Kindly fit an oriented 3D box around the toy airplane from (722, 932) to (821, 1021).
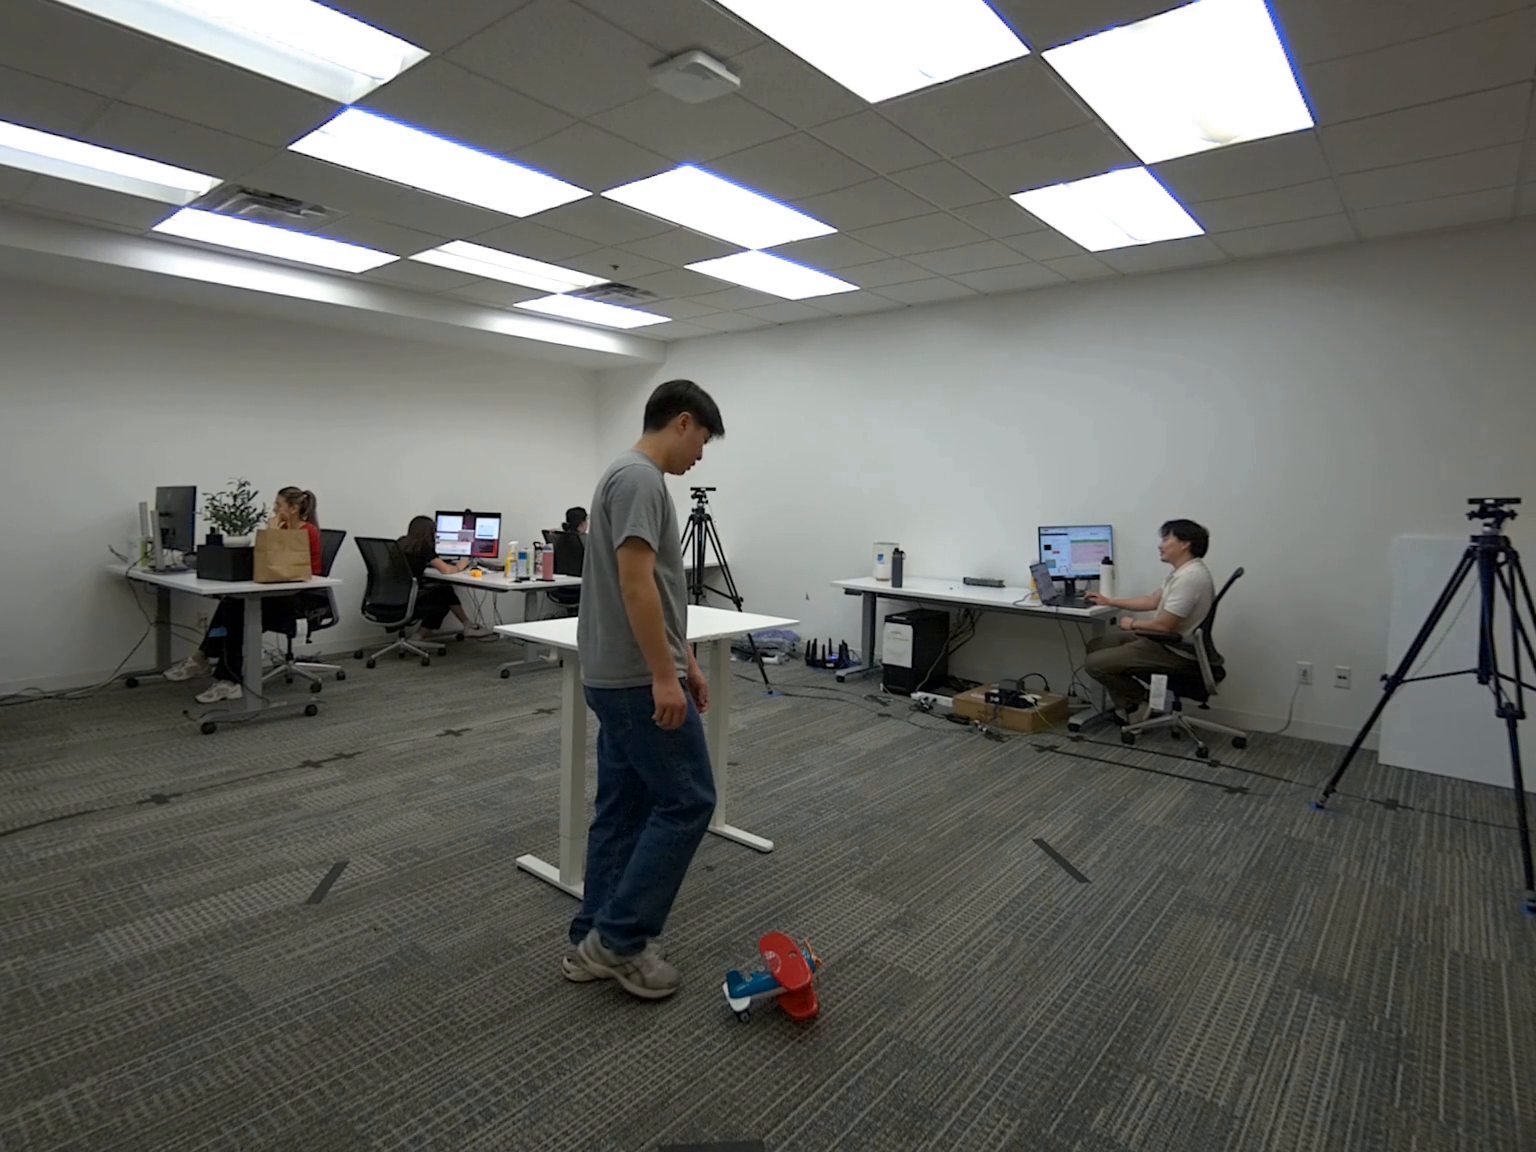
[{"bbox_3d":[0.019,1.091,2.232,0.260,0.156,0.251,6,6,43],"label":"toy airplane"}]
